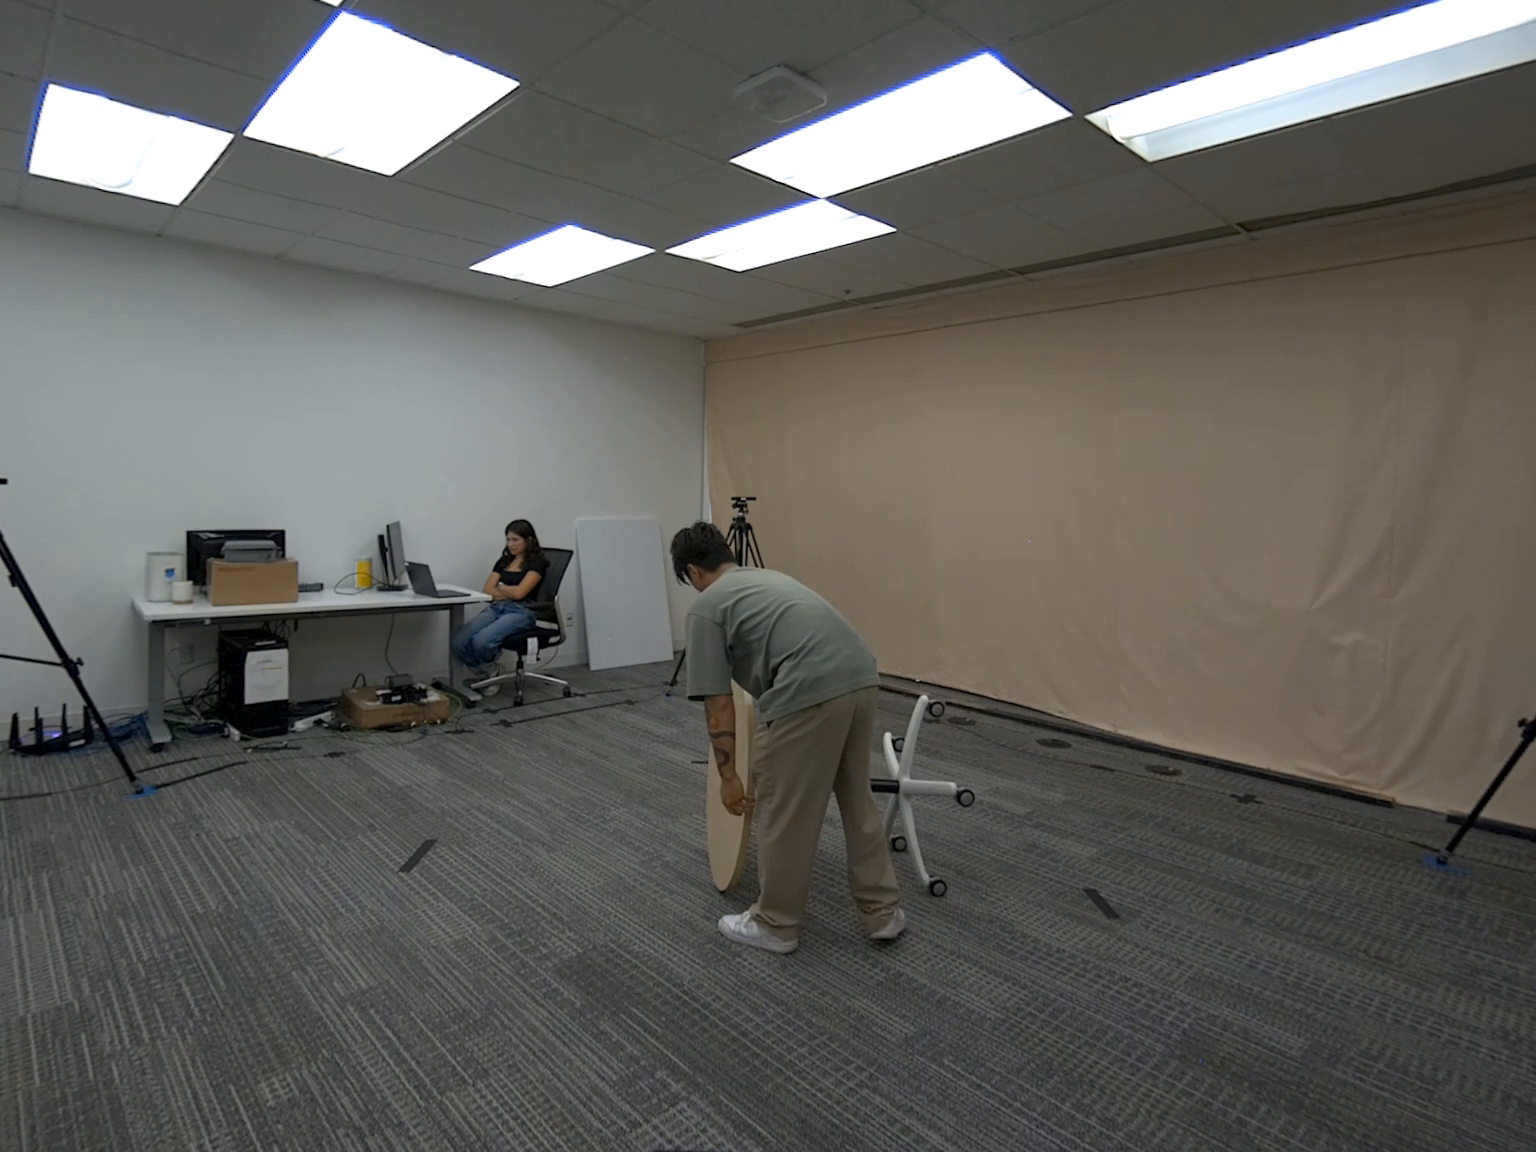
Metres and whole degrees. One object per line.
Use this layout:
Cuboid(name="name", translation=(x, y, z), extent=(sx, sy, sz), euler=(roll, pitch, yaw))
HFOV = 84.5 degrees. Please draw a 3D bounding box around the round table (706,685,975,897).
Cuboid(name="round table", translation=(0.229, 0.779, 3.116), extent=(0.779, 0.784, 0.794), euler=(7, 3, -11))
